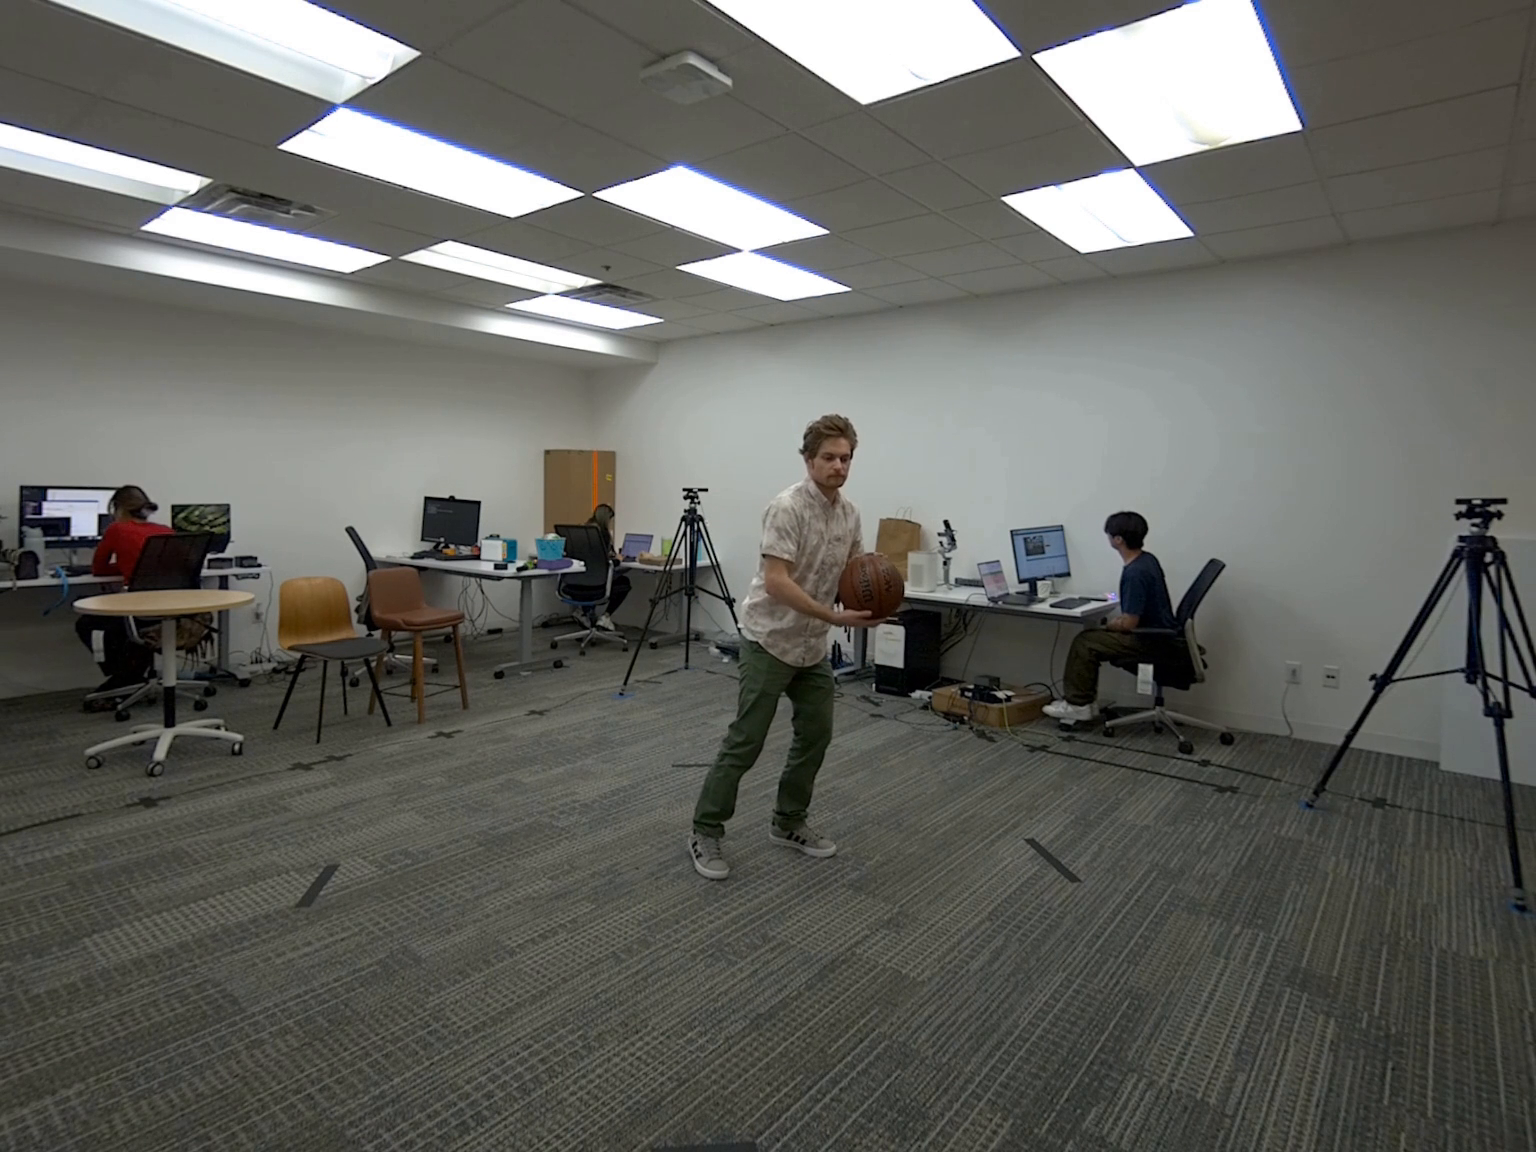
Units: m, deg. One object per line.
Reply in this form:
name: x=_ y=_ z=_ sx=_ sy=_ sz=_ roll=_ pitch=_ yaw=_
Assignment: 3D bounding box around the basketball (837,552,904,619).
basketball: x=0.365 y=0.046 z=3.078 sx=0.236 sy=0.235 sz=0.237 roll=1 pitch=4 yaw=-2
